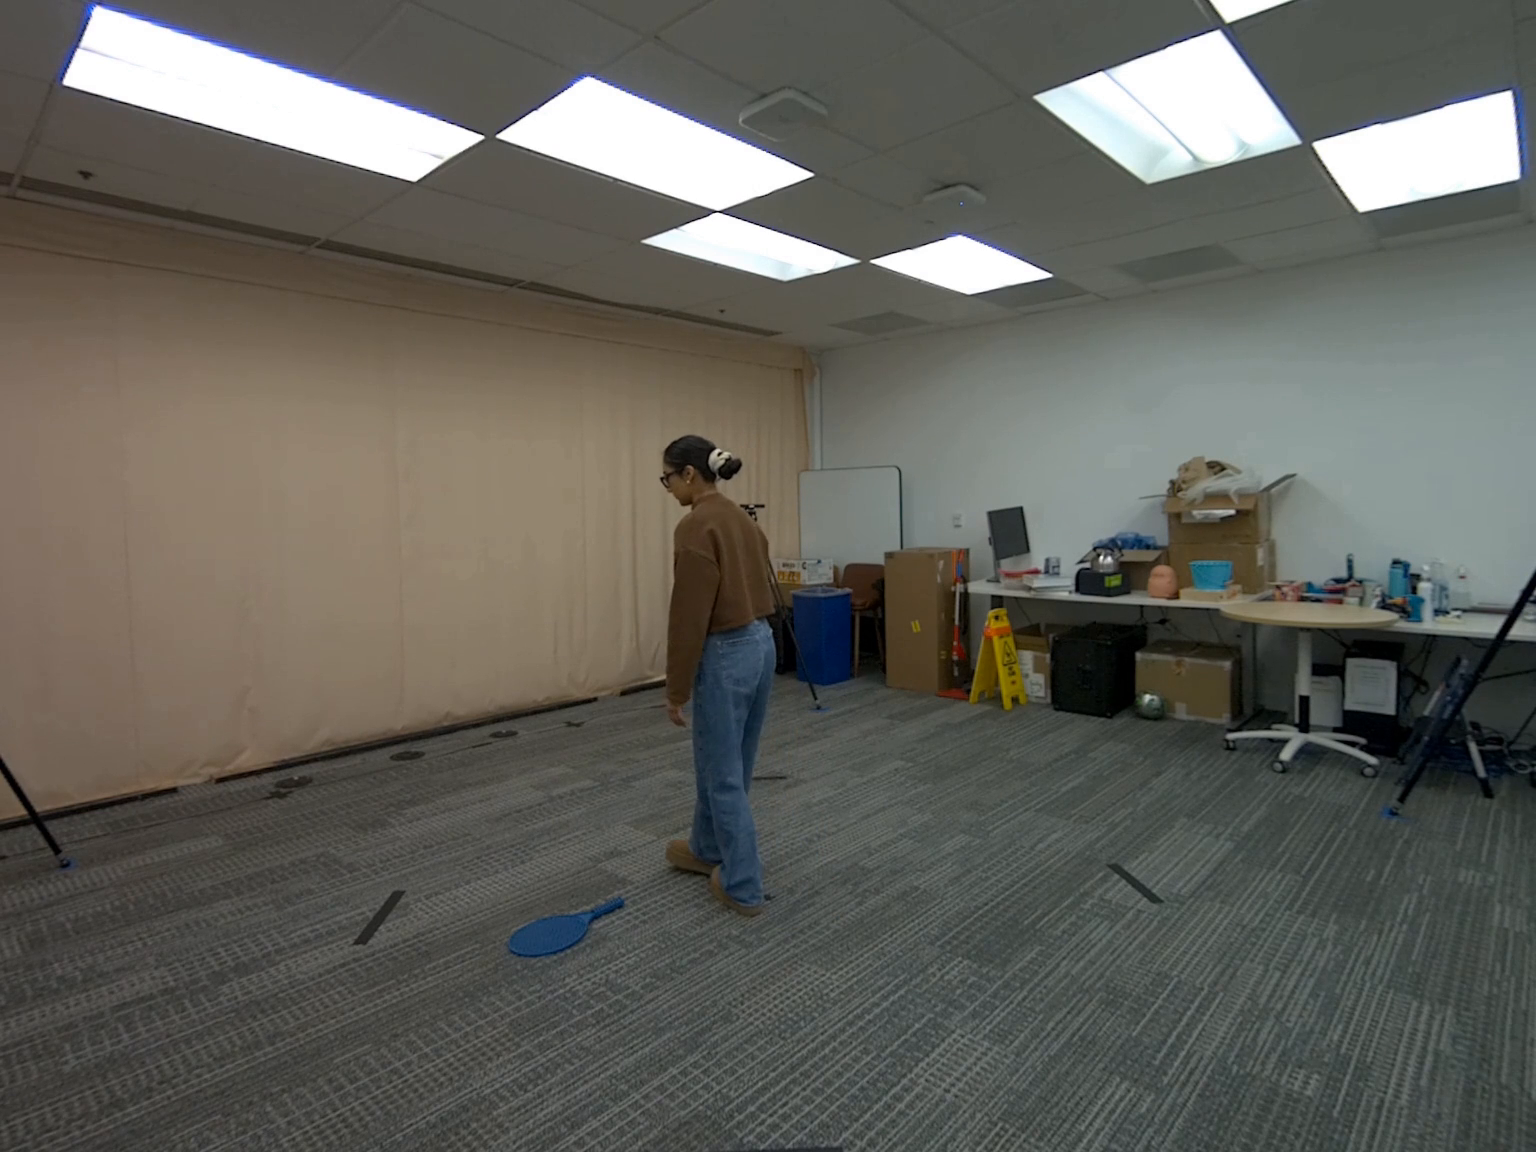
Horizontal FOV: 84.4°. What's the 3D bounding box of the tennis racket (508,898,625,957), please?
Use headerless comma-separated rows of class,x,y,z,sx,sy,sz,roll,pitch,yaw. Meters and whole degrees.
tennis racket,-0.657,1.156,2.793,0.420,0.031,0.221,-7,9,-44
